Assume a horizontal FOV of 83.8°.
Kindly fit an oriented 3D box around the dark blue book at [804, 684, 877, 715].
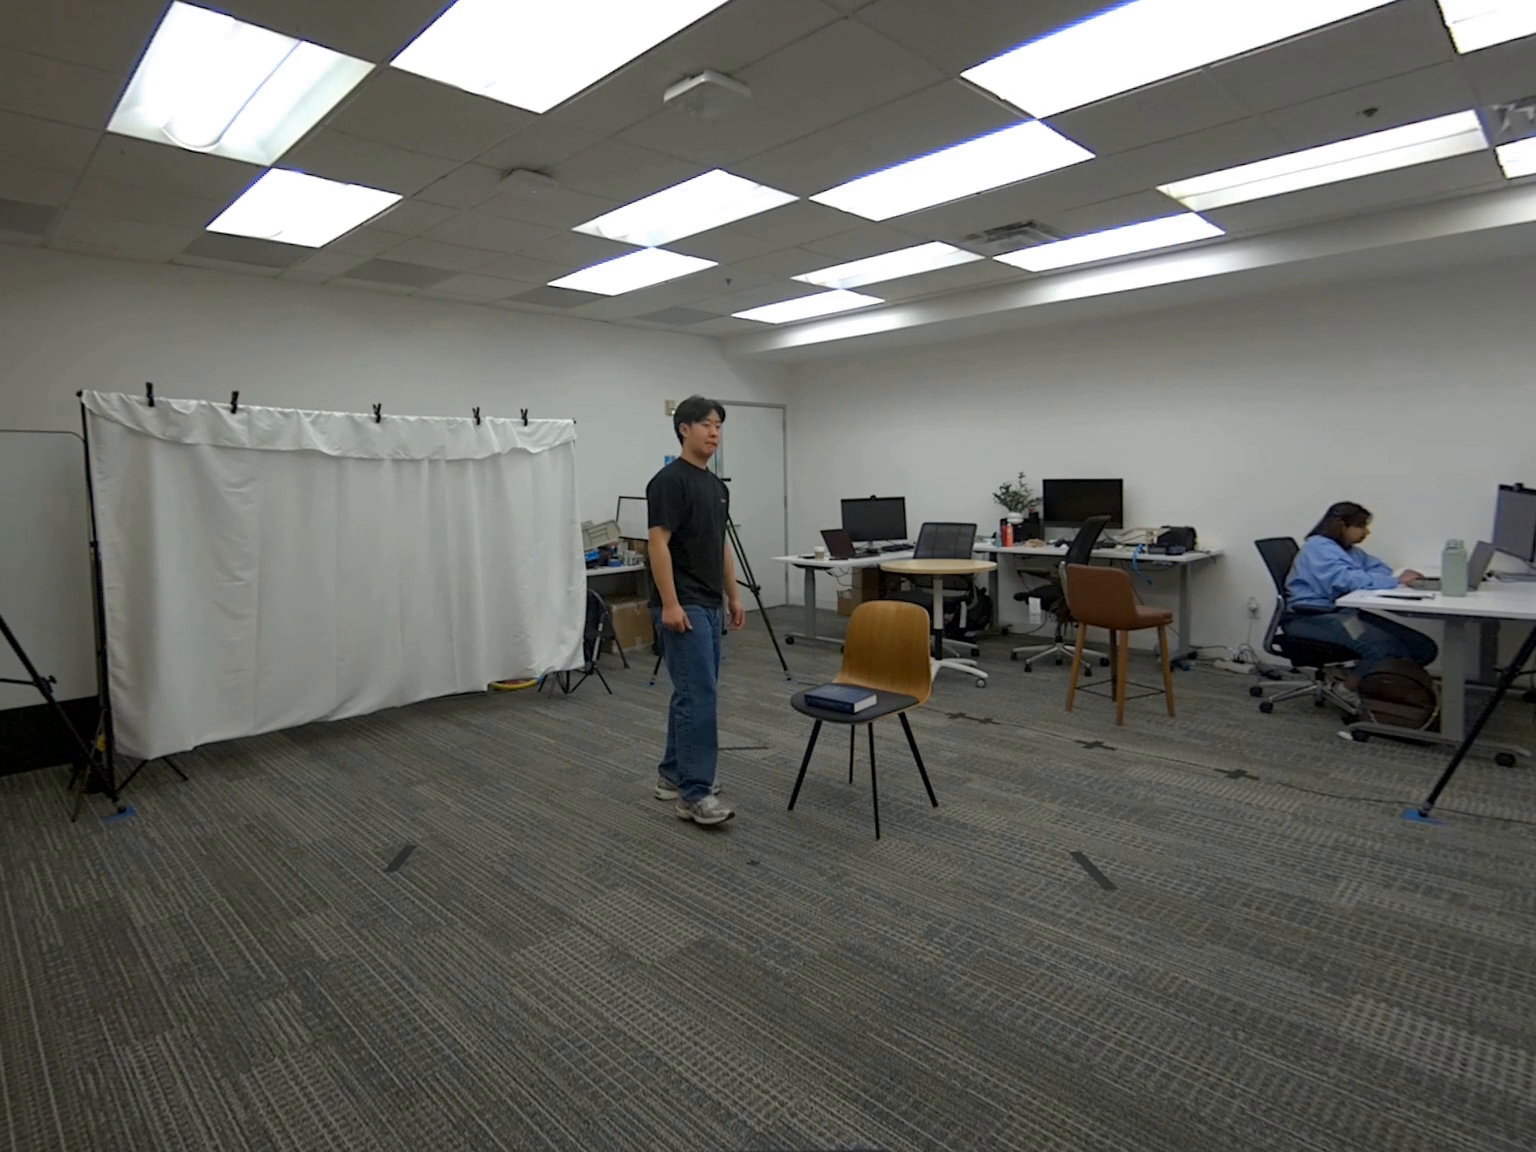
[{"bbox_3d":[0.293,0.490,3.434,0.252,0.045,0.159,3,10,42],"label":"dark blue book"}]
